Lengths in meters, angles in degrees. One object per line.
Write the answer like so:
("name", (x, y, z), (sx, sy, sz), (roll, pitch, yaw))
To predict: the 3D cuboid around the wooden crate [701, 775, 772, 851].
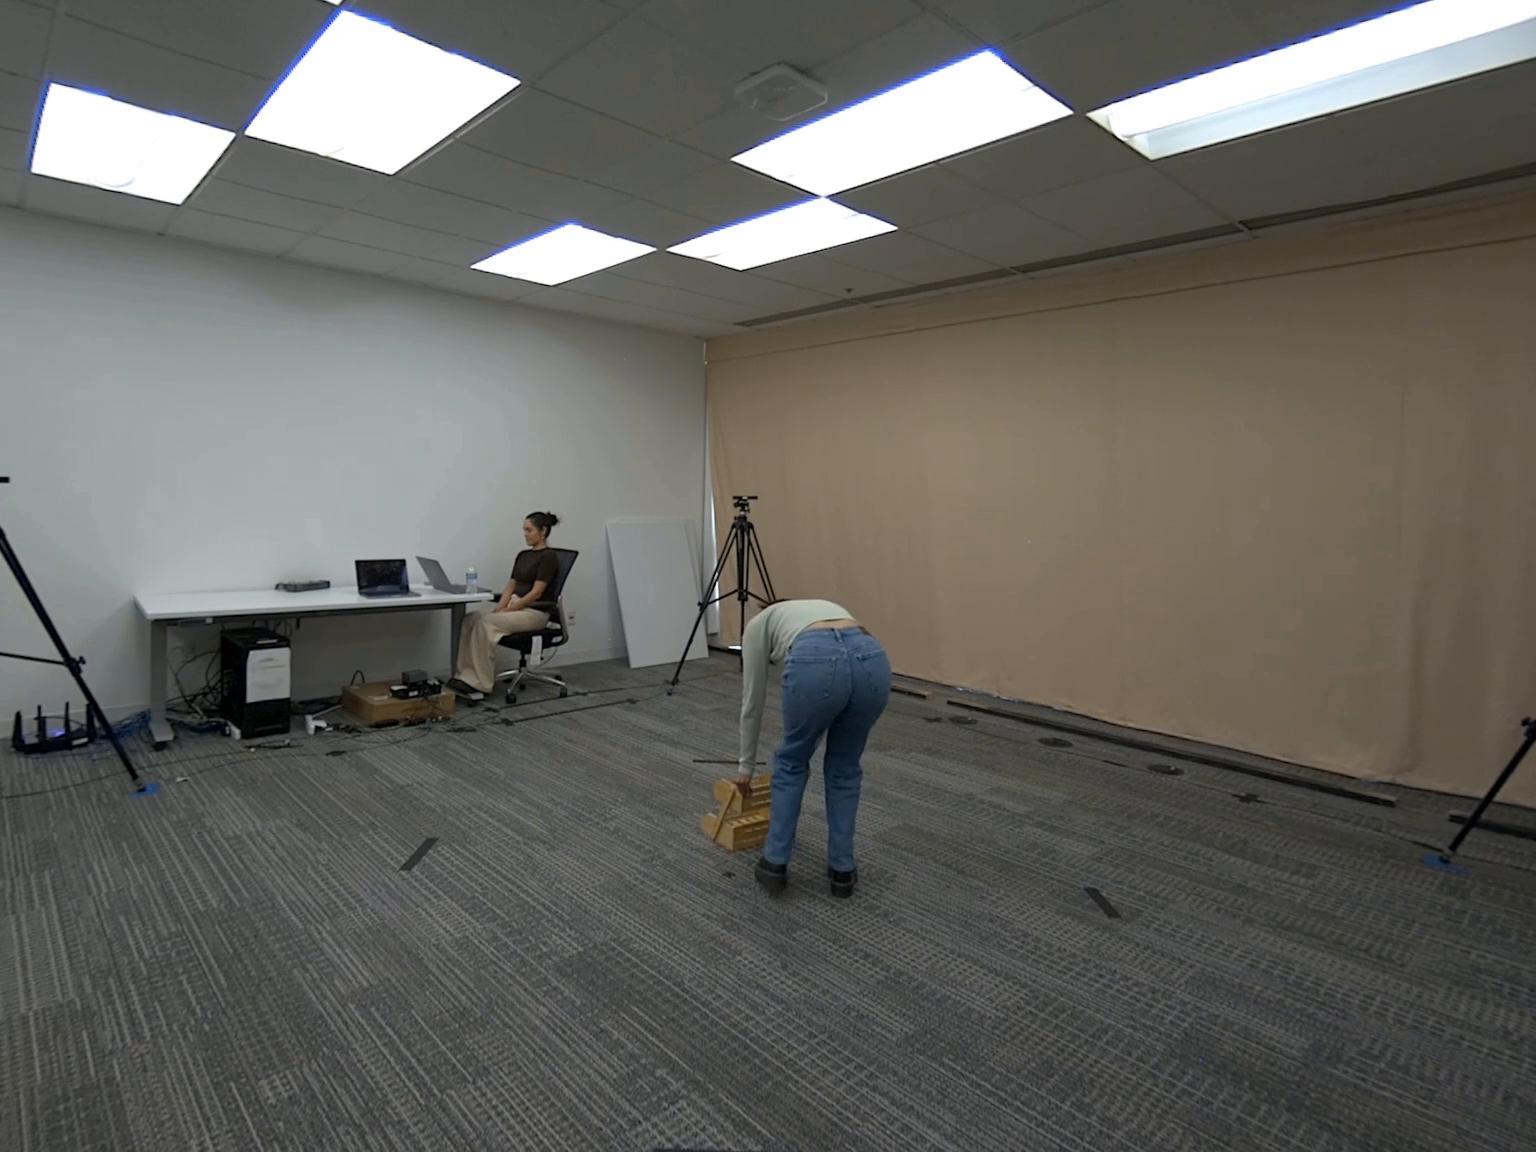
("wooden crate", (-0.081, 0.939, 3.471), (0.317, 0.272, 0.309), (-1, 5, -36))
